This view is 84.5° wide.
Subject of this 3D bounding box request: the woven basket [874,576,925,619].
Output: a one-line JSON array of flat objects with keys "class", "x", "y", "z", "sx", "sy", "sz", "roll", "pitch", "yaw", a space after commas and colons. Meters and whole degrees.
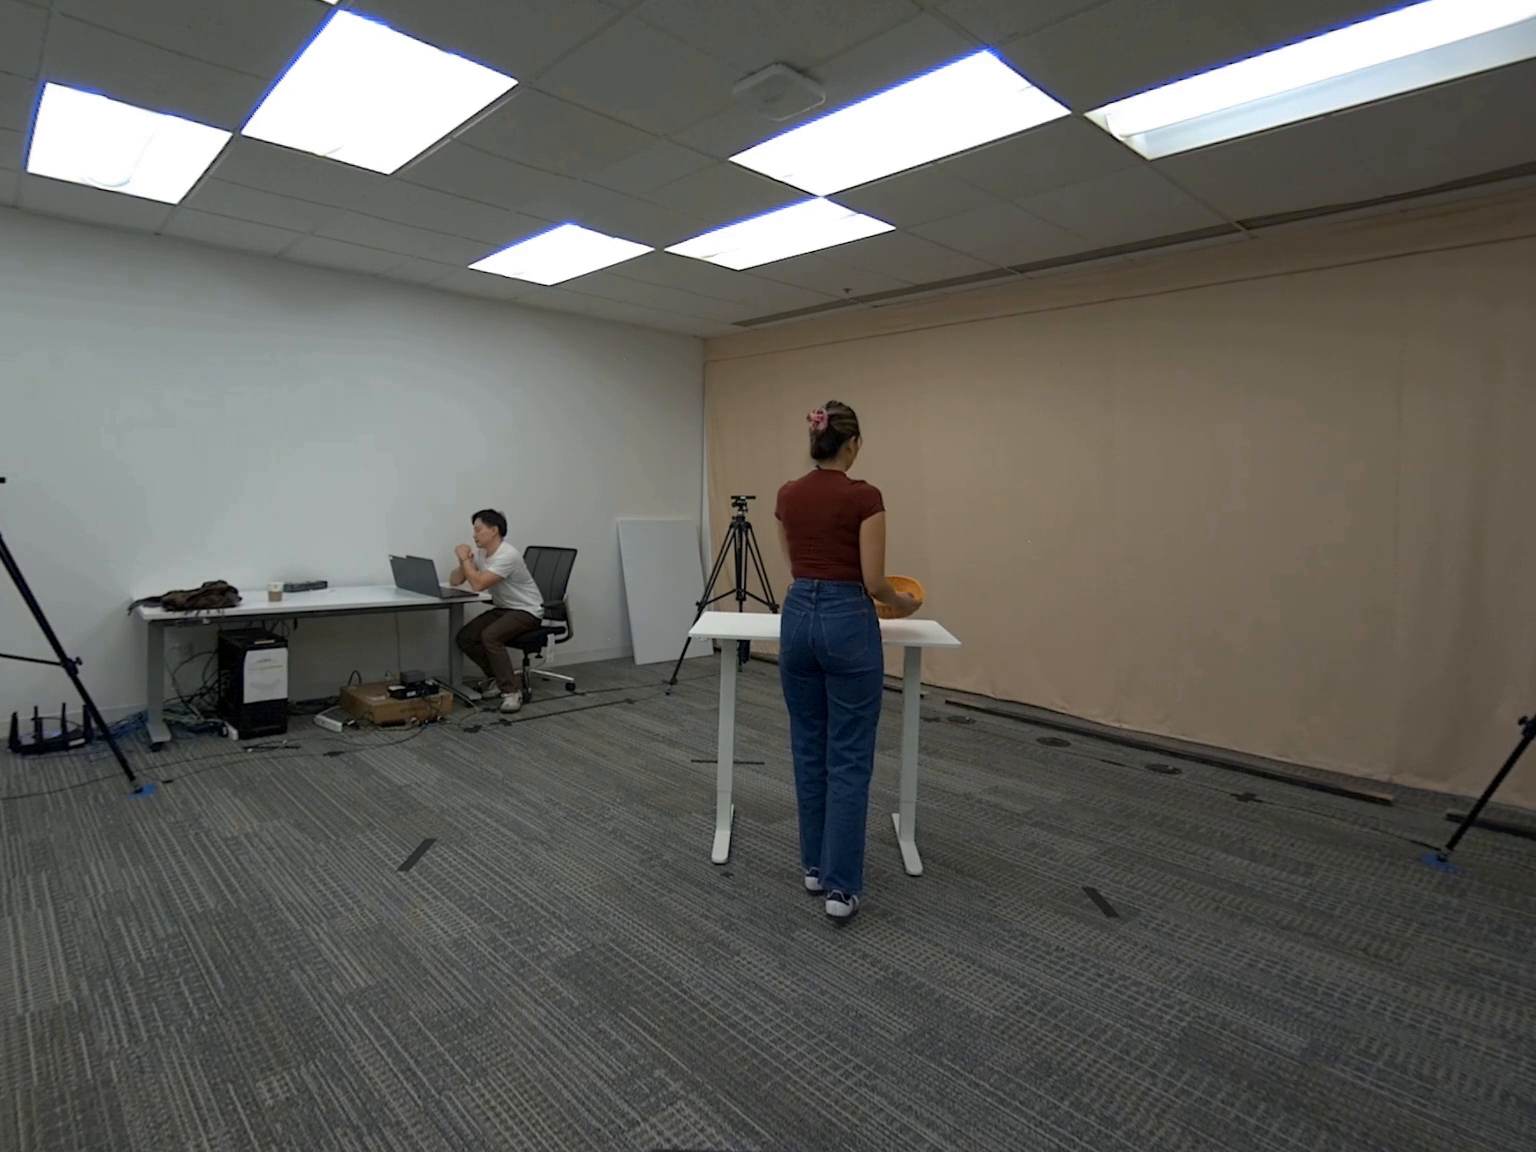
[{"class": "woven basket", "x": 0.465, "y": 0.095, "z": 3.260, "sx": 0.251, "sy": 0.073, "sz": 0.355, "roll": 0, "pitch": 13, "yaw": -8}]
